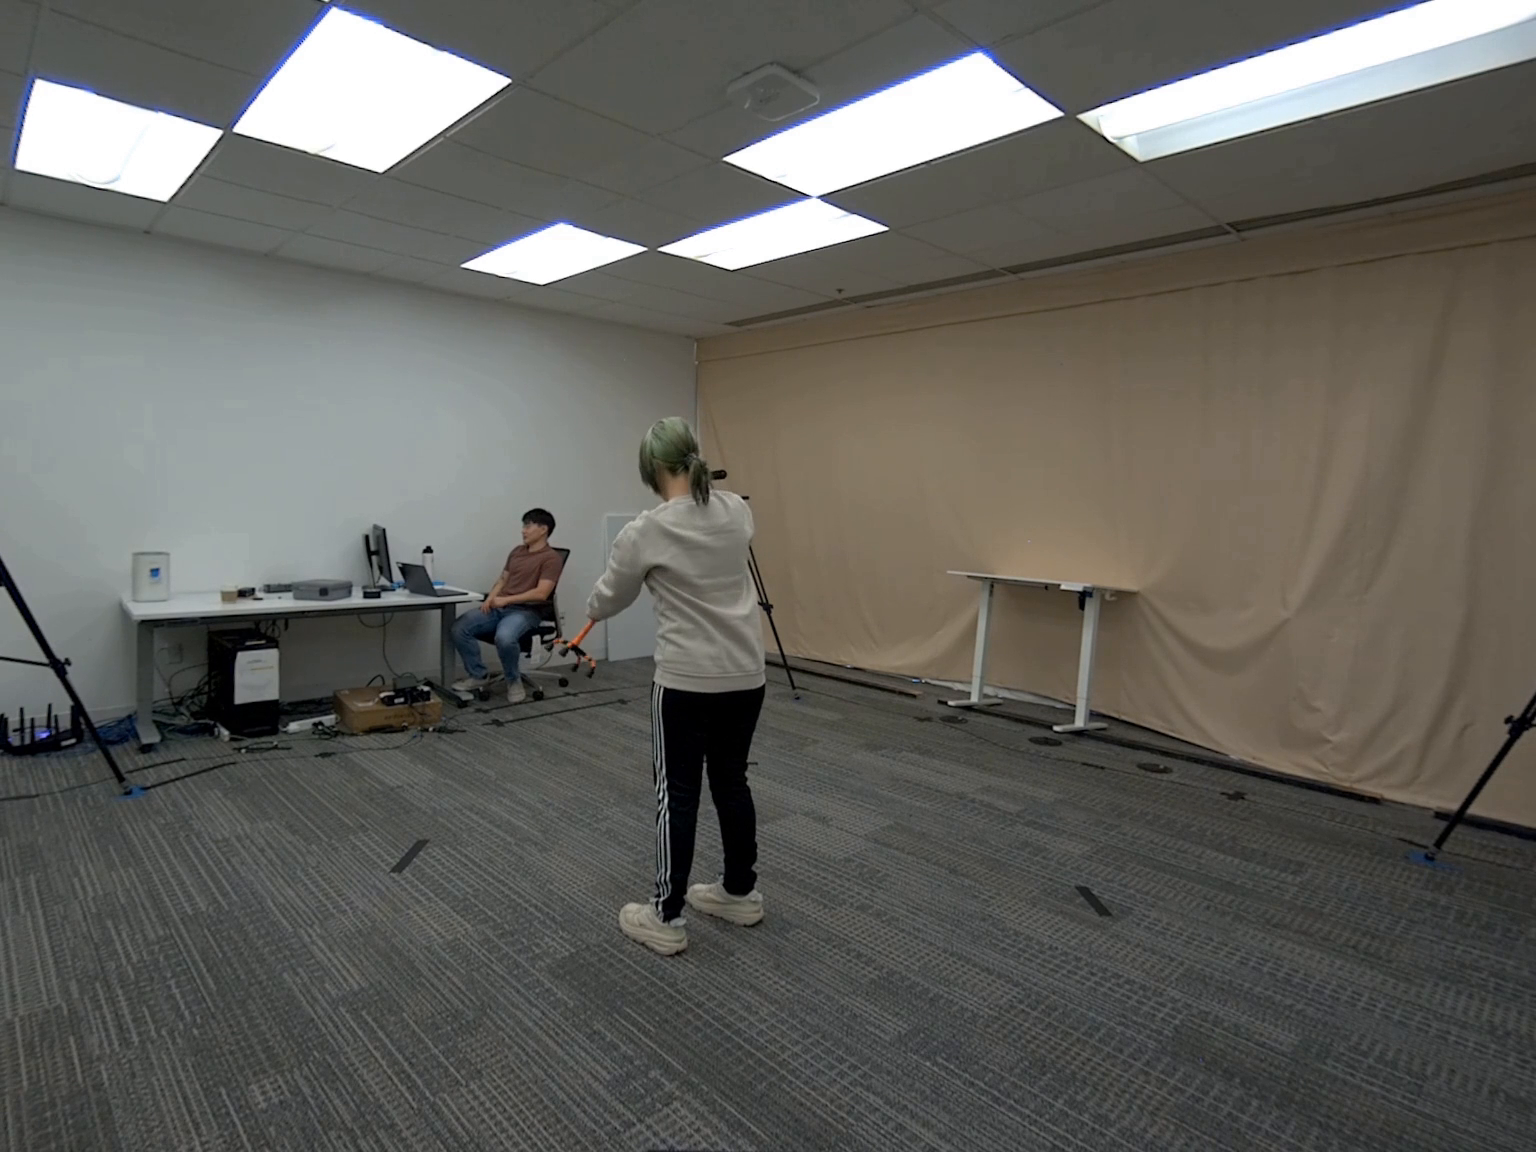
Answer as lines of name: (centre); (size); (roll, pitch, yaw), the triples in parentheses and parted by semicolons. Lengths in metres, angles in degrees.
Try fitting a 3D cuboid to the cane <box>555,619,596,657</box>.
cane: (-0.464, -0.037, 3.109); (0.148, 0.910, 0.210); (44, -20, -23)
